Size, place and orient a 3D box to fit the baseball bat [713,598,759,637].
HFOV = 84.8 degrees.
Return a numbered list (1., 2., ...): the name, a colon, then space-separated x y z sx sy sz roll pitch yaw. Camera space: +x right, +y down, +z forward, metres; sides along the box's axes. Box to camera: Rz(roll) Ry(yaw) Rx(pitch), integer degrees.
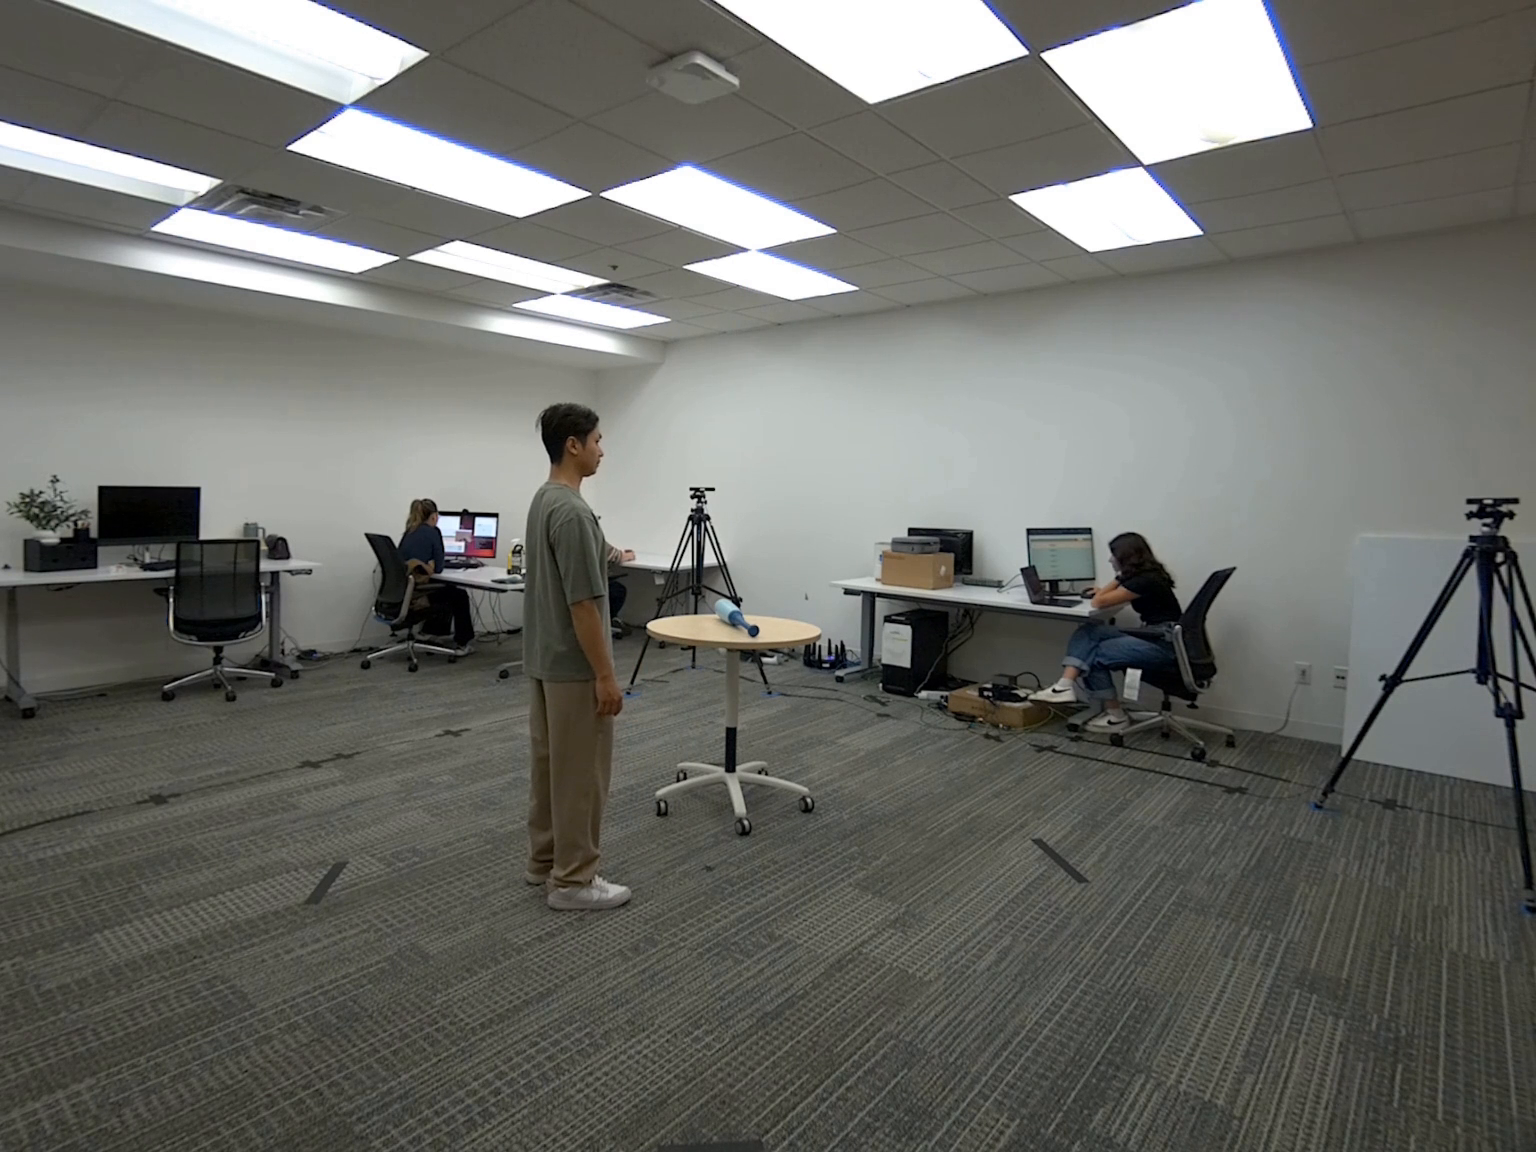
1. baseball bat: -0.144 0.185 3.742 0.087 0.088 0.557 -1 9 -19
